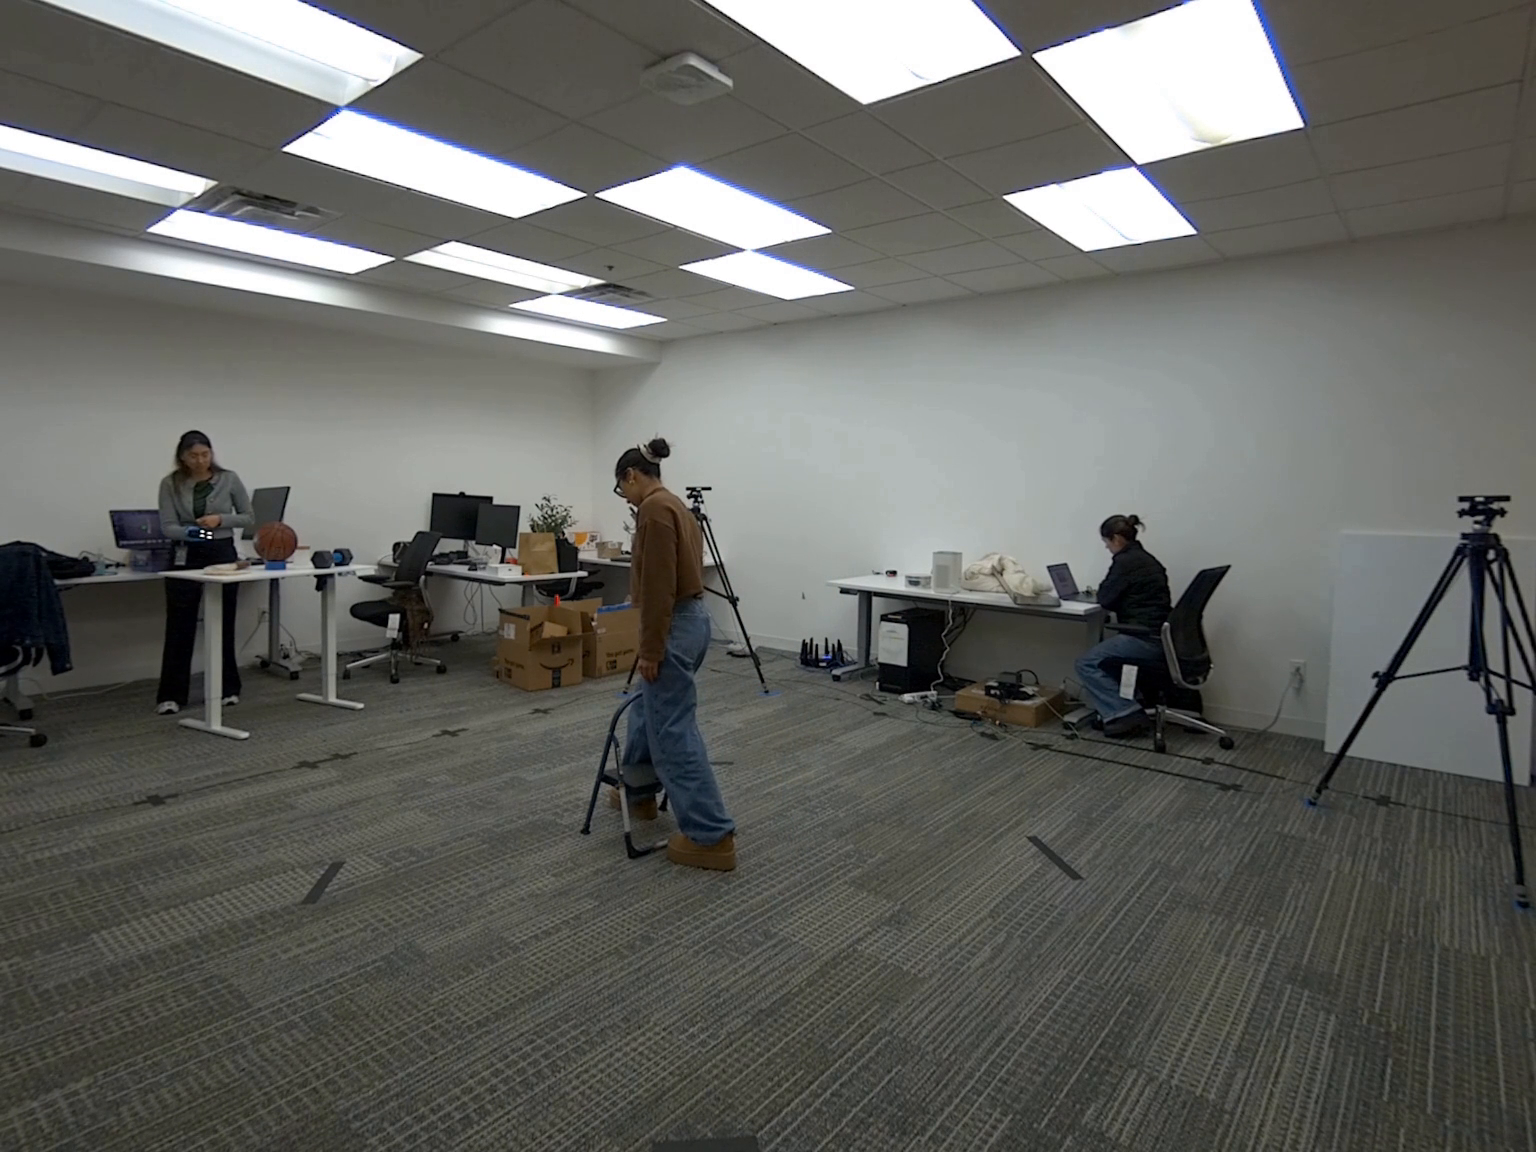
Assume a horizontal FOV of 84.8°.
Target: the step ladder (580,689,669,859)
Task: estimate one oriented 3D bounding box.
[{"bbox_3d":[-0.490,0.725,3.409,0.417,0.604,0.361,-2,6,-44],"label":"step ladder"}]
